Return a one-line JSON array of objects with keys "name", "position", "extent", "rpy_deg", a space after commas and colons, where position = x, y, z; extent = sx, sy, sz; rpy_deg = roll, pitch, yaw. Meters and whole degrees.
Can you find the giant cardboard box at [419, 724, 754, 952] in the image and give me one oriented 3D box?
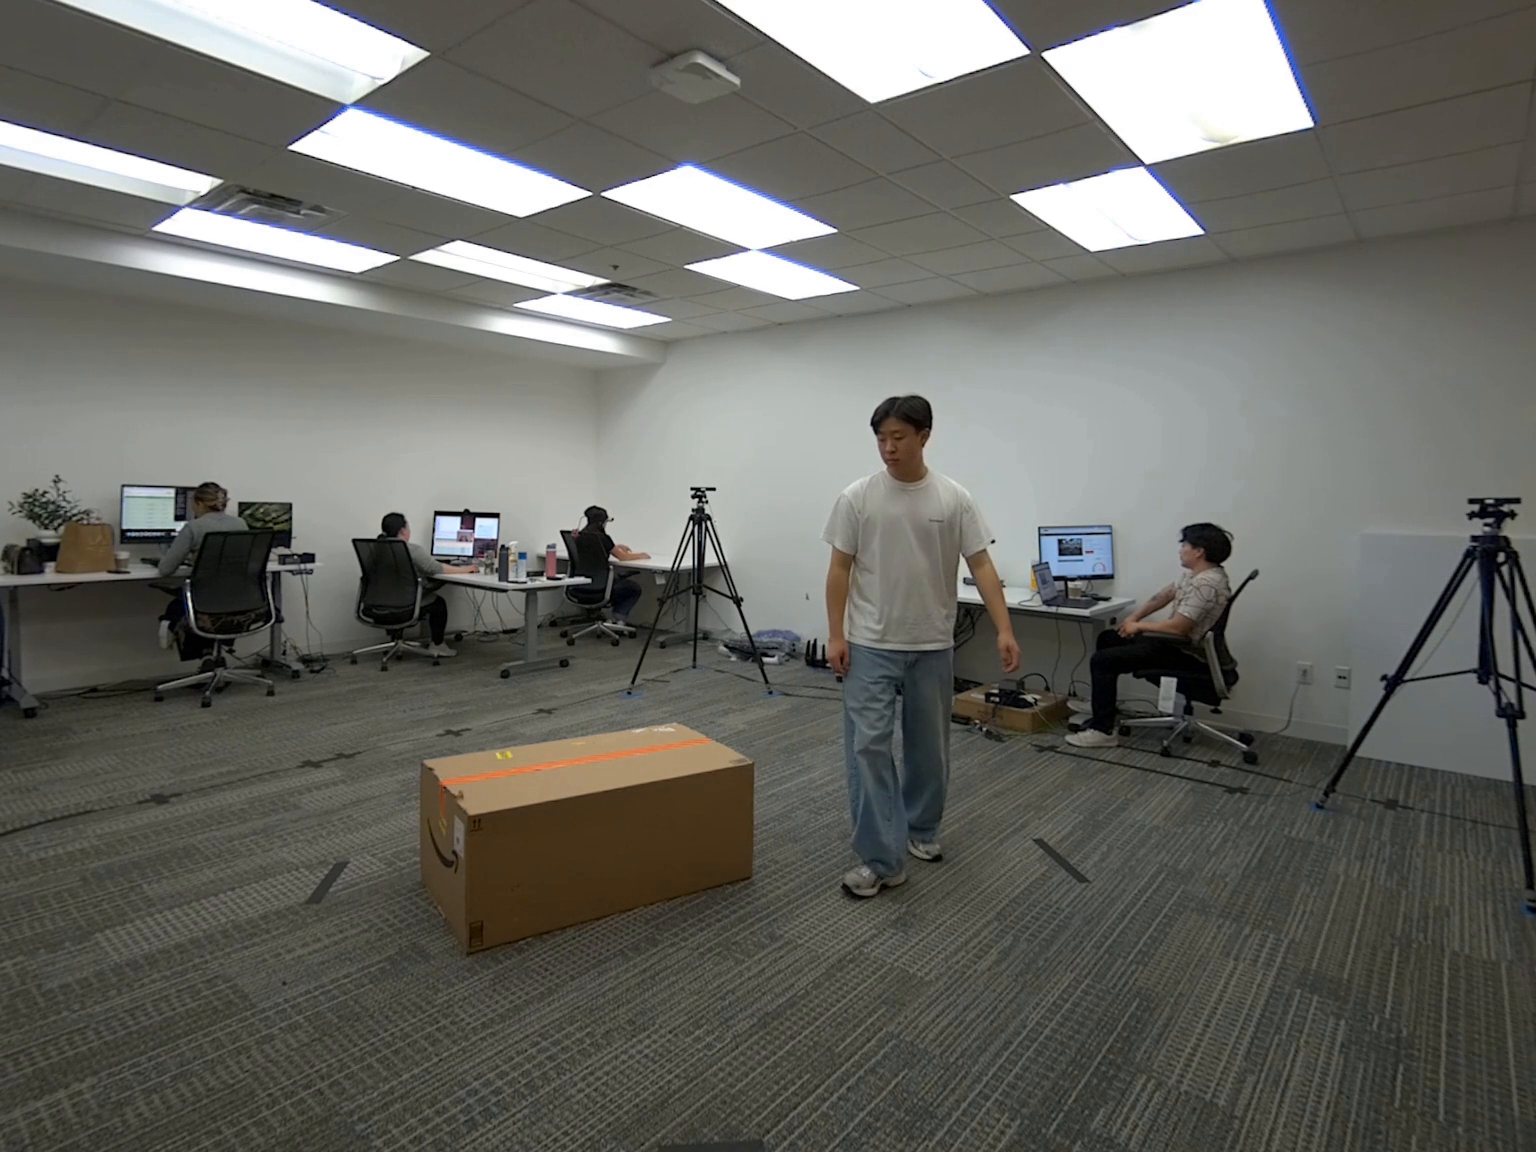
[{"name": "giant cardboard box", "position": [-0.640, 0.856, 2.998], "extent": [0.997, 0.425, 0.596], "rpy_deg": [-3, 6, -33]}]
